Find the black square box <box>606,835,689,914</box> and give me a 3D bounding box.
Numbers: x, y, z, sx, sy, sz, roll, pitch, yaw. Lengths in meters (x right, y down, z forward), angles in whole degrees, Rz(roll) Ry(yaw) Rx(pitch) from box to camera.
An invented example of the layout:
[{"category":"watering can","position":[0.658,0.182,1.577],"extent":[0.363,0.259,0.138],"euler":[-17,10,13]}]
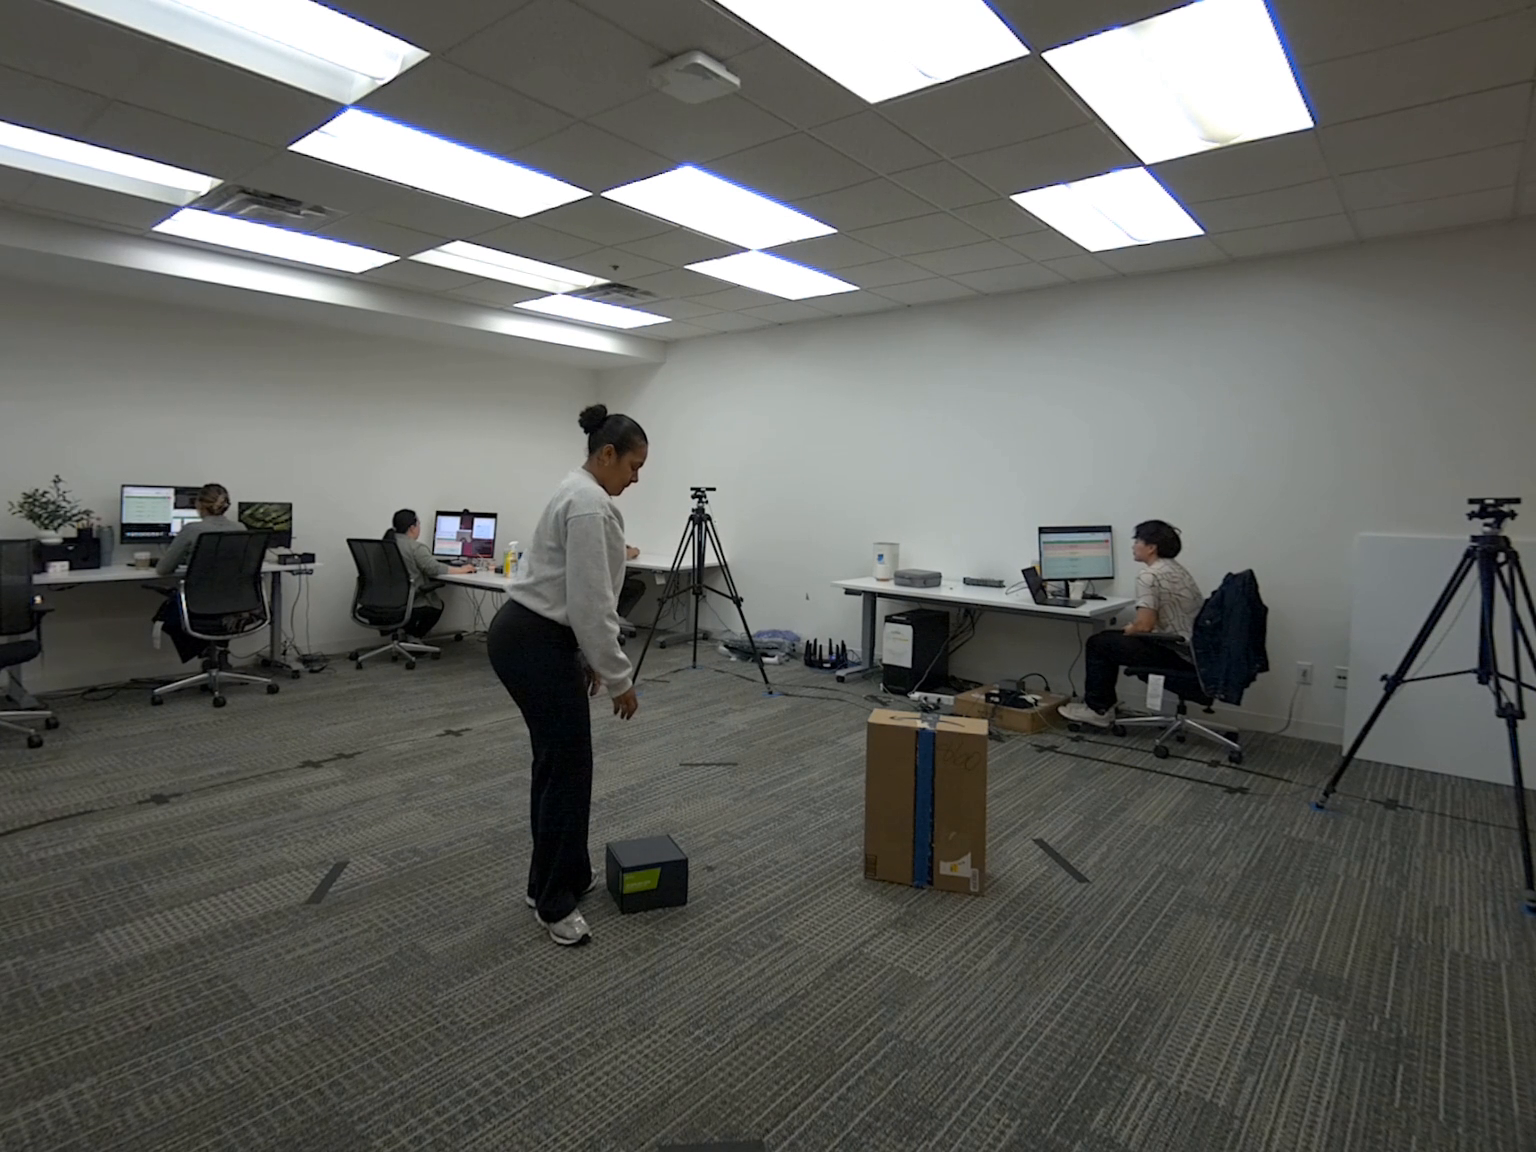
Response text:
[{"category":"black square box","position":[-0.424,1.004,2.888],"extent":[0.223,0.155,0.223],"euler":[-1,5,-24]}]
